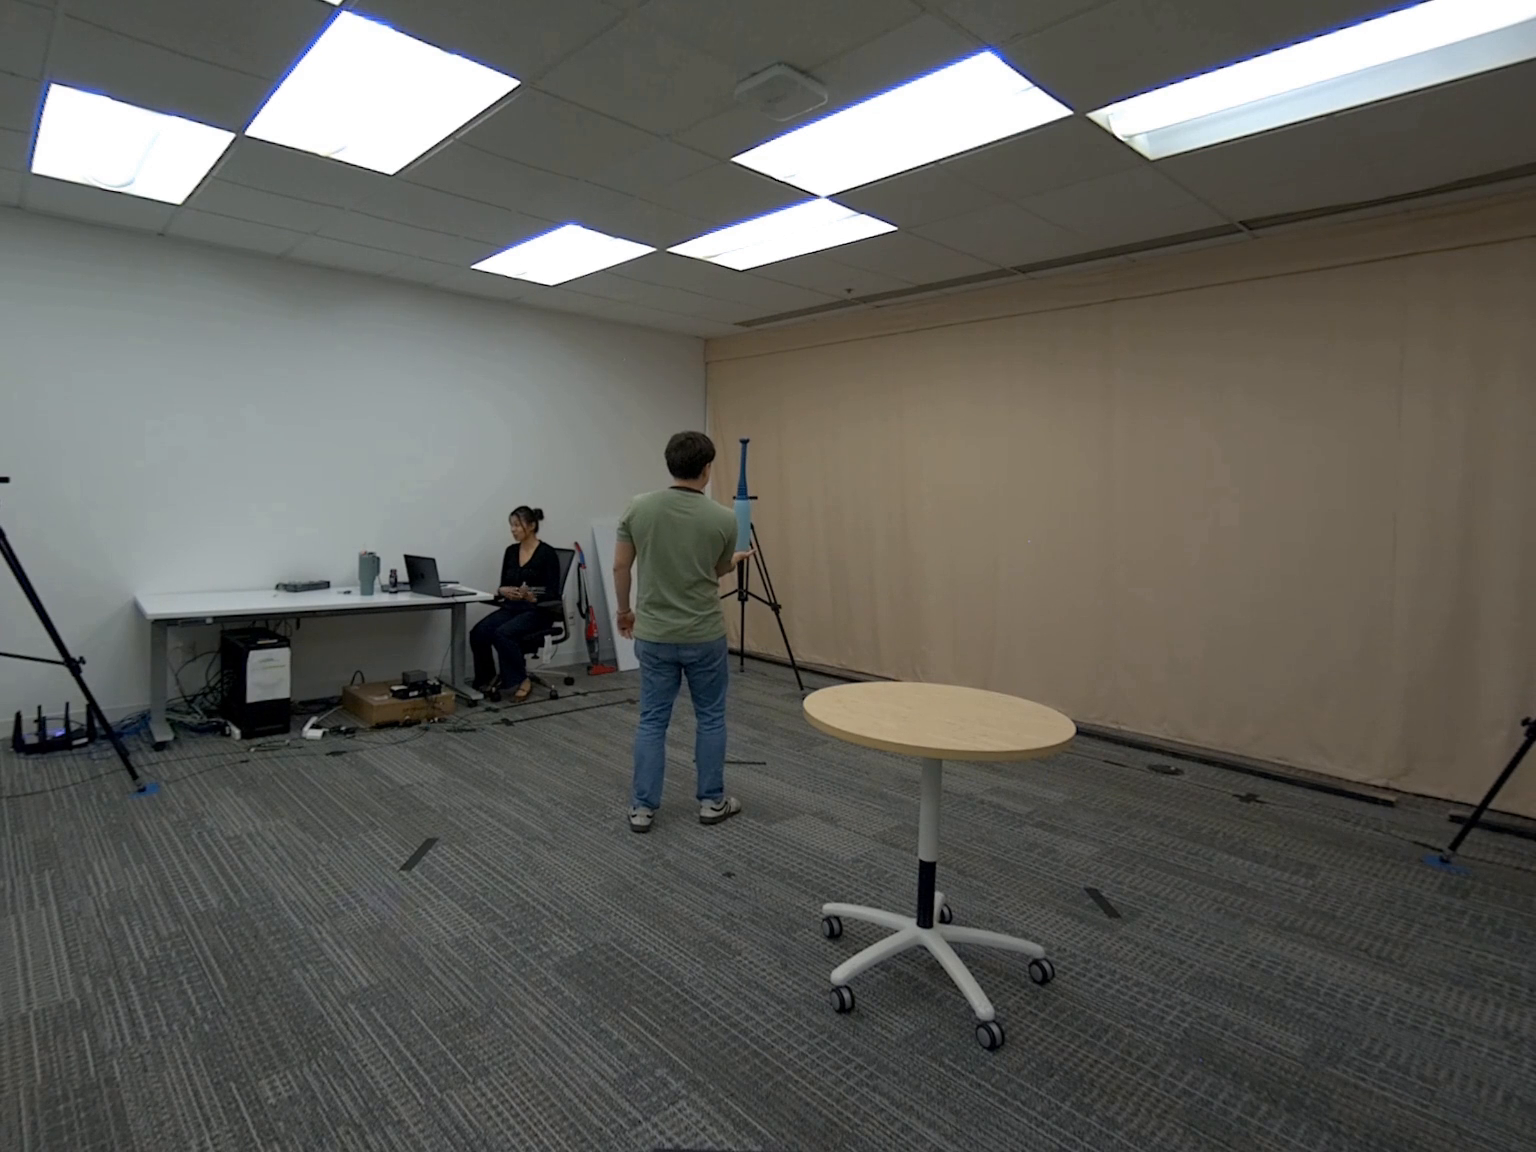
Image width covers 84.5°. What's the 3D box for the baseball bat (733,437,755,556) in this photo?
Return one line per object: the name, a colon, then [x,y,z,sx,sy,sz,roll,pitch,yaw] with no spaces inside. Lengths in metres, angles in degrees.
baseball bat: [-0.117,-0.377,3.968,0.089,0.540,0.089,1,8,-2]
